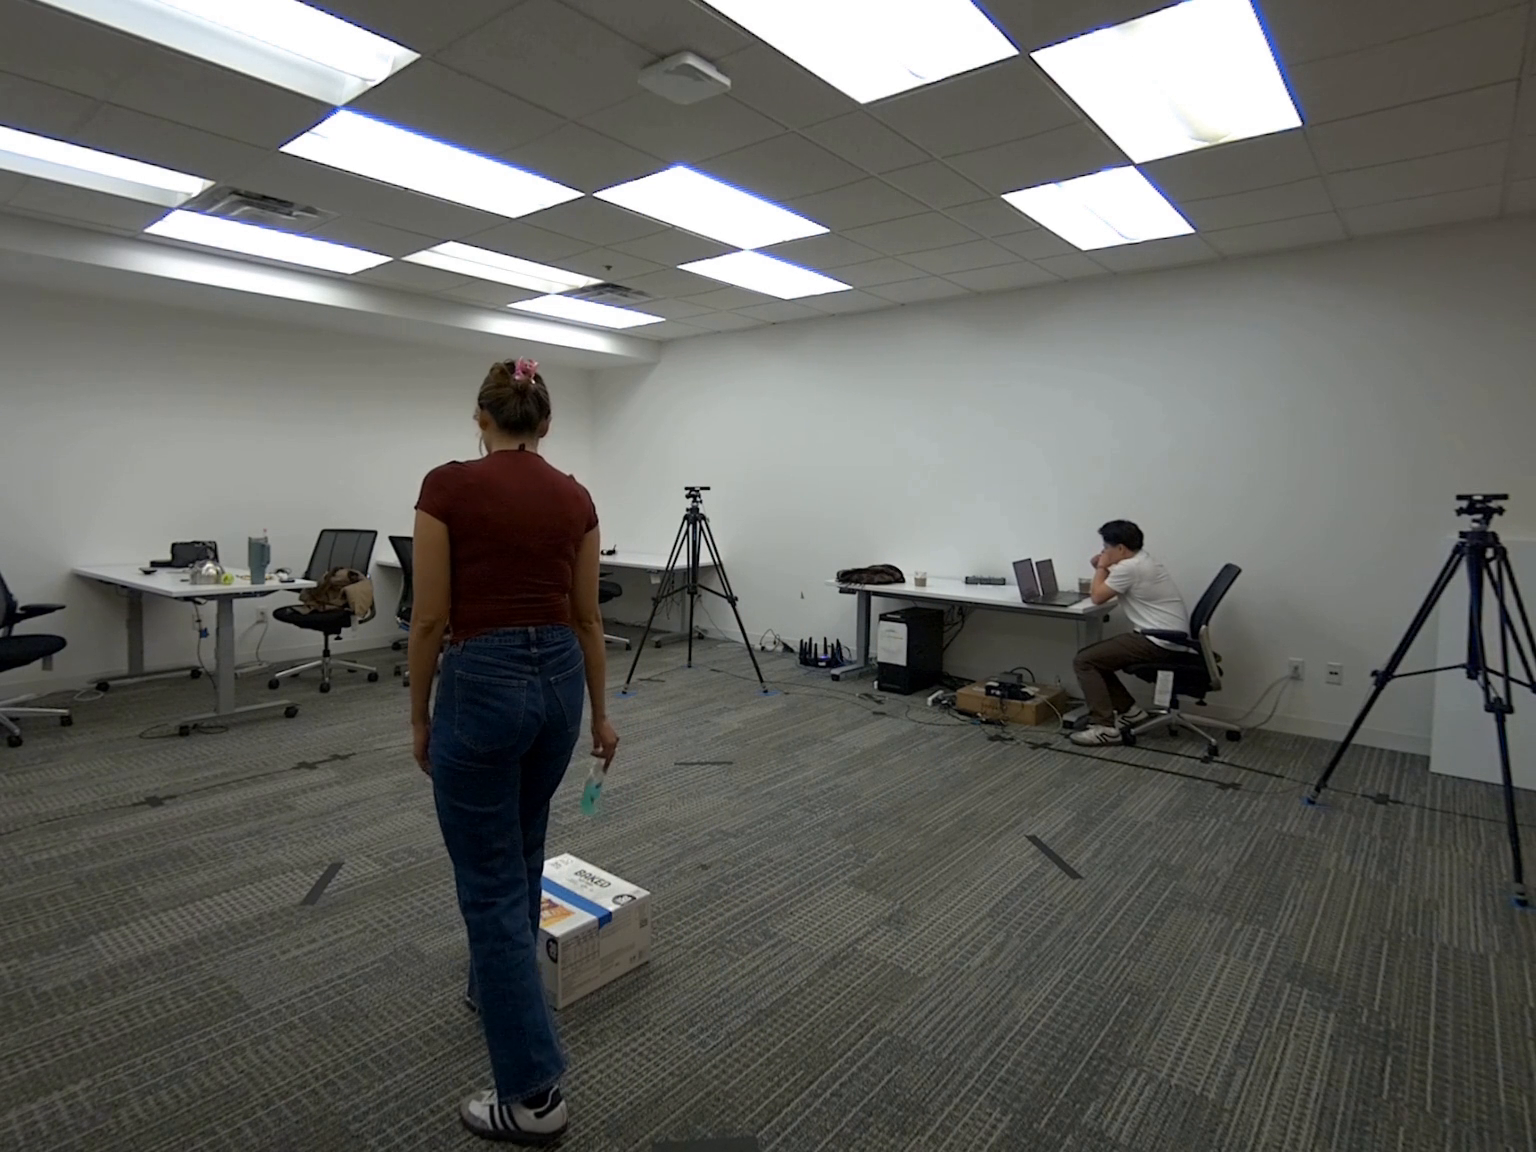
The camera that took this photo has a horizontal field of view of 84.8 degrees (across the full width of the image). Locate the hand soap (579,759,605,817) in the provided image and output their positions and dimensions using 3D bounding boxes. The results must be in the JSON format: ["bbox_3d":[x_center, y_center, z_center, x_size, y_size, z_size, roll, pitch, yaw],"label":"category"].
[{"bbox_3d":[-0.464,0.534,2.221,0.044,0.168,0.084,9,1,6],"label":"hand soap"}]
